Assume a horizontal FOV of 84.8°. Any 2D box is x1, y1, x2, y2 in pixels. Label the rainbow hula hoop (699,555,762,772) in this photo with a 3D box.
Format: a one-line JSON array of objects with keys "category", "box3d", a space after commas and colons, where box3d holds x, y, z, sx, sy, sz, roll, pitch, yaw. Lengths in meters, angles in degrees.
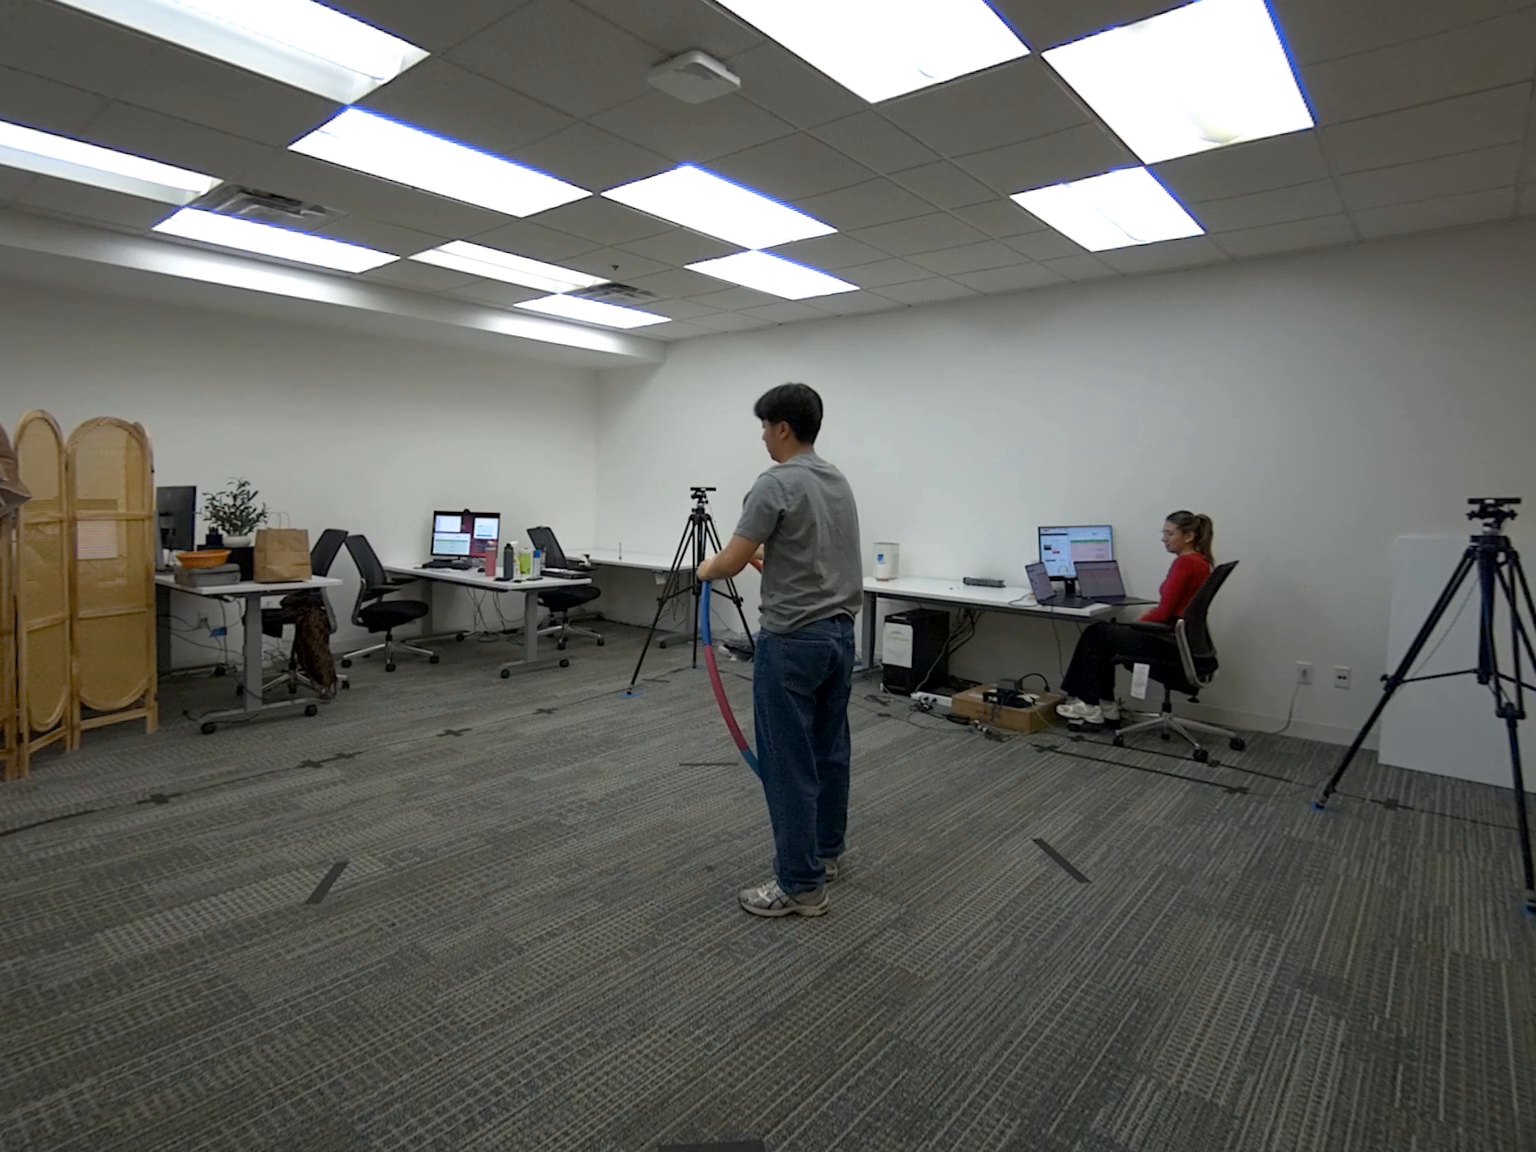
[{"category": "rainbow hula hoop", "box3d": [-0.024, 0.358, 3.252, 0.036, 0.986, 0.959, -22, -5, 21]}]
